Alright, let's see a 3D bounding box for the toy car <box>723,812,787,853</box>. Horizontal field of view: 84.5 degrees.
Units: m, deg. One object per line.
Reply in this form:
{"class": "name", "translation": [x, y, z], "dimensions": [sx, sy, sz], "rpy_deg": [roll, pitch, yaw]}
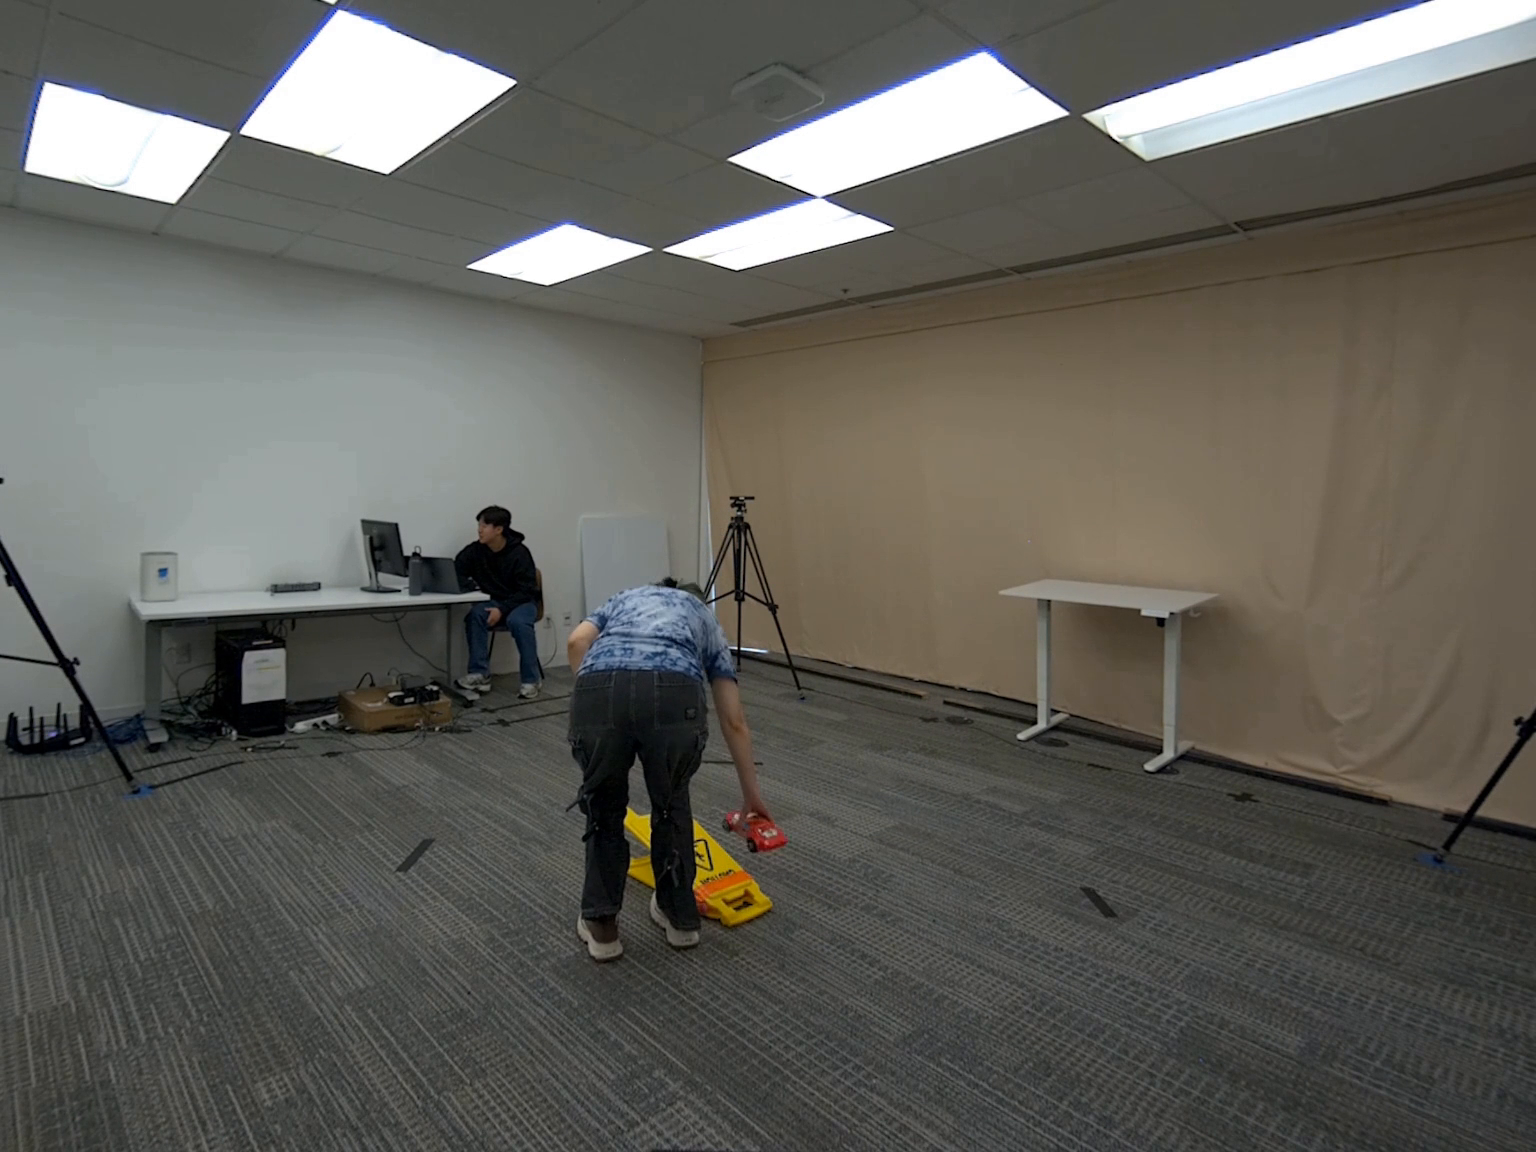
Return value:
{"class": "toy car", "translation": [-0.049, 0.832, 2.727], "dimensions": [0.127, 0.083, 0.260], "rpy_deg": [-5, 4, -35]}
